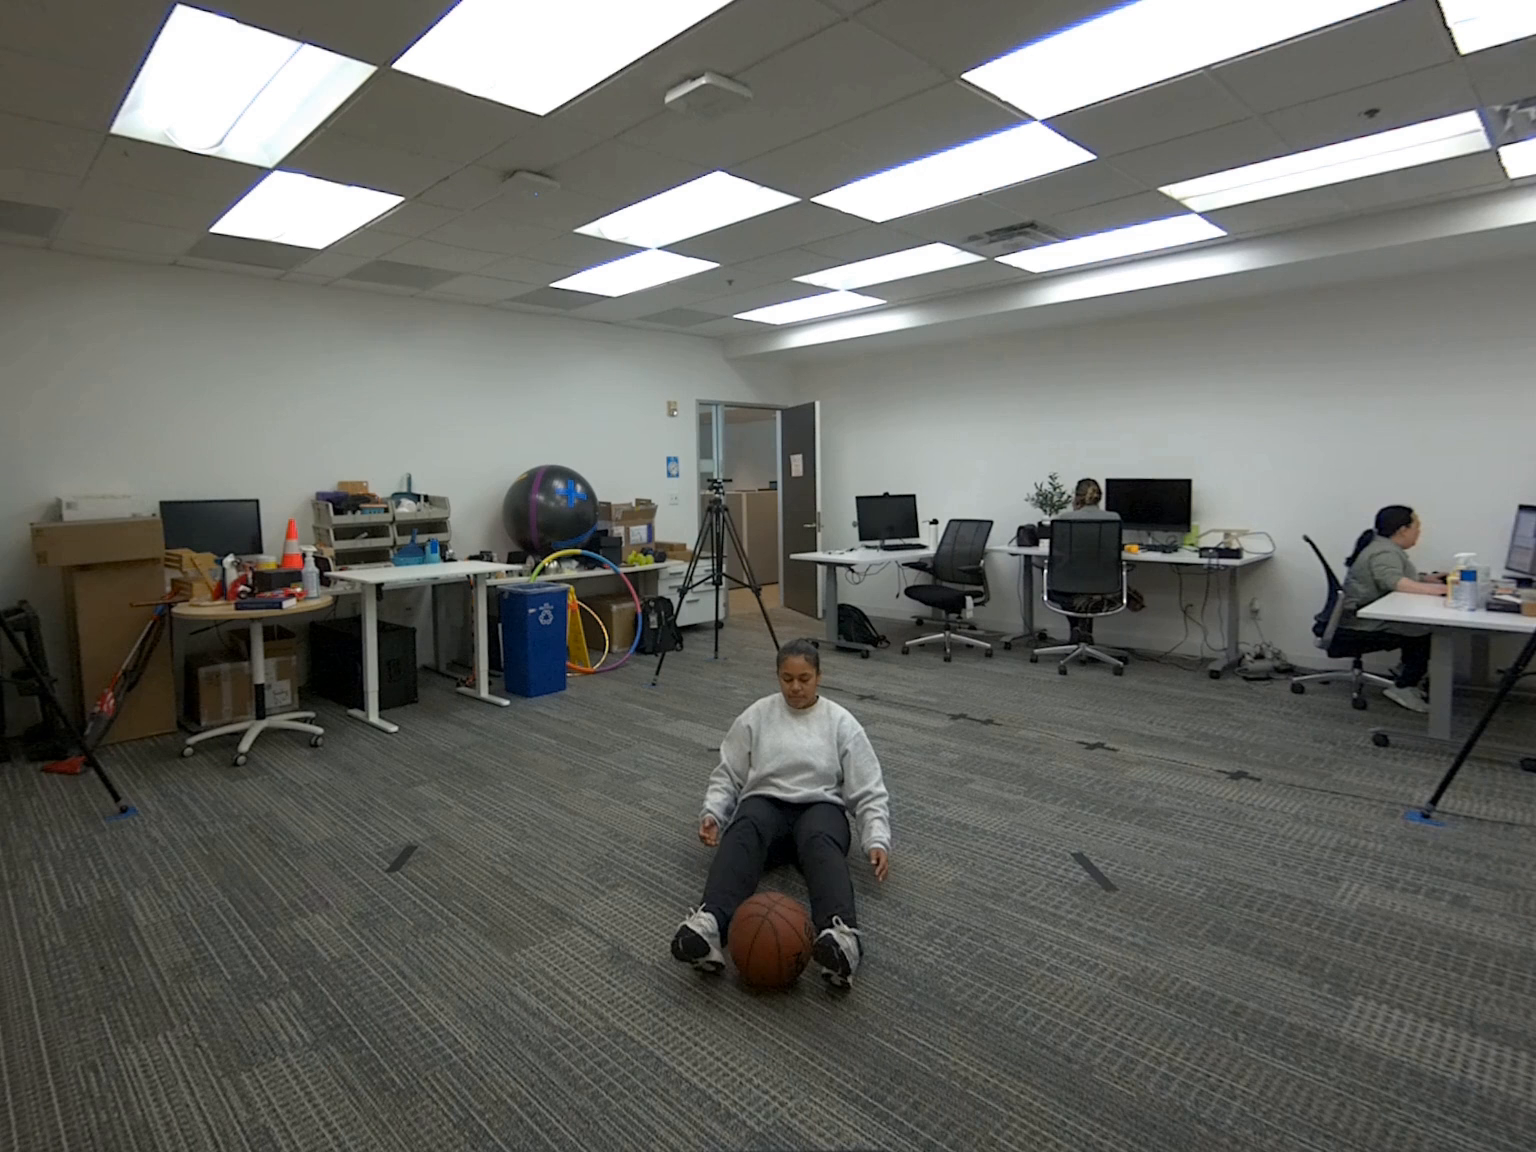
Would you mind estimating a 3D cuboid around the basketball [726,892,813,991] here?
[{"bbox_3d":[0.013,1.015,2.374,0.236,0.235,0.237,-1,5,-2],"label":"basketball"}]
